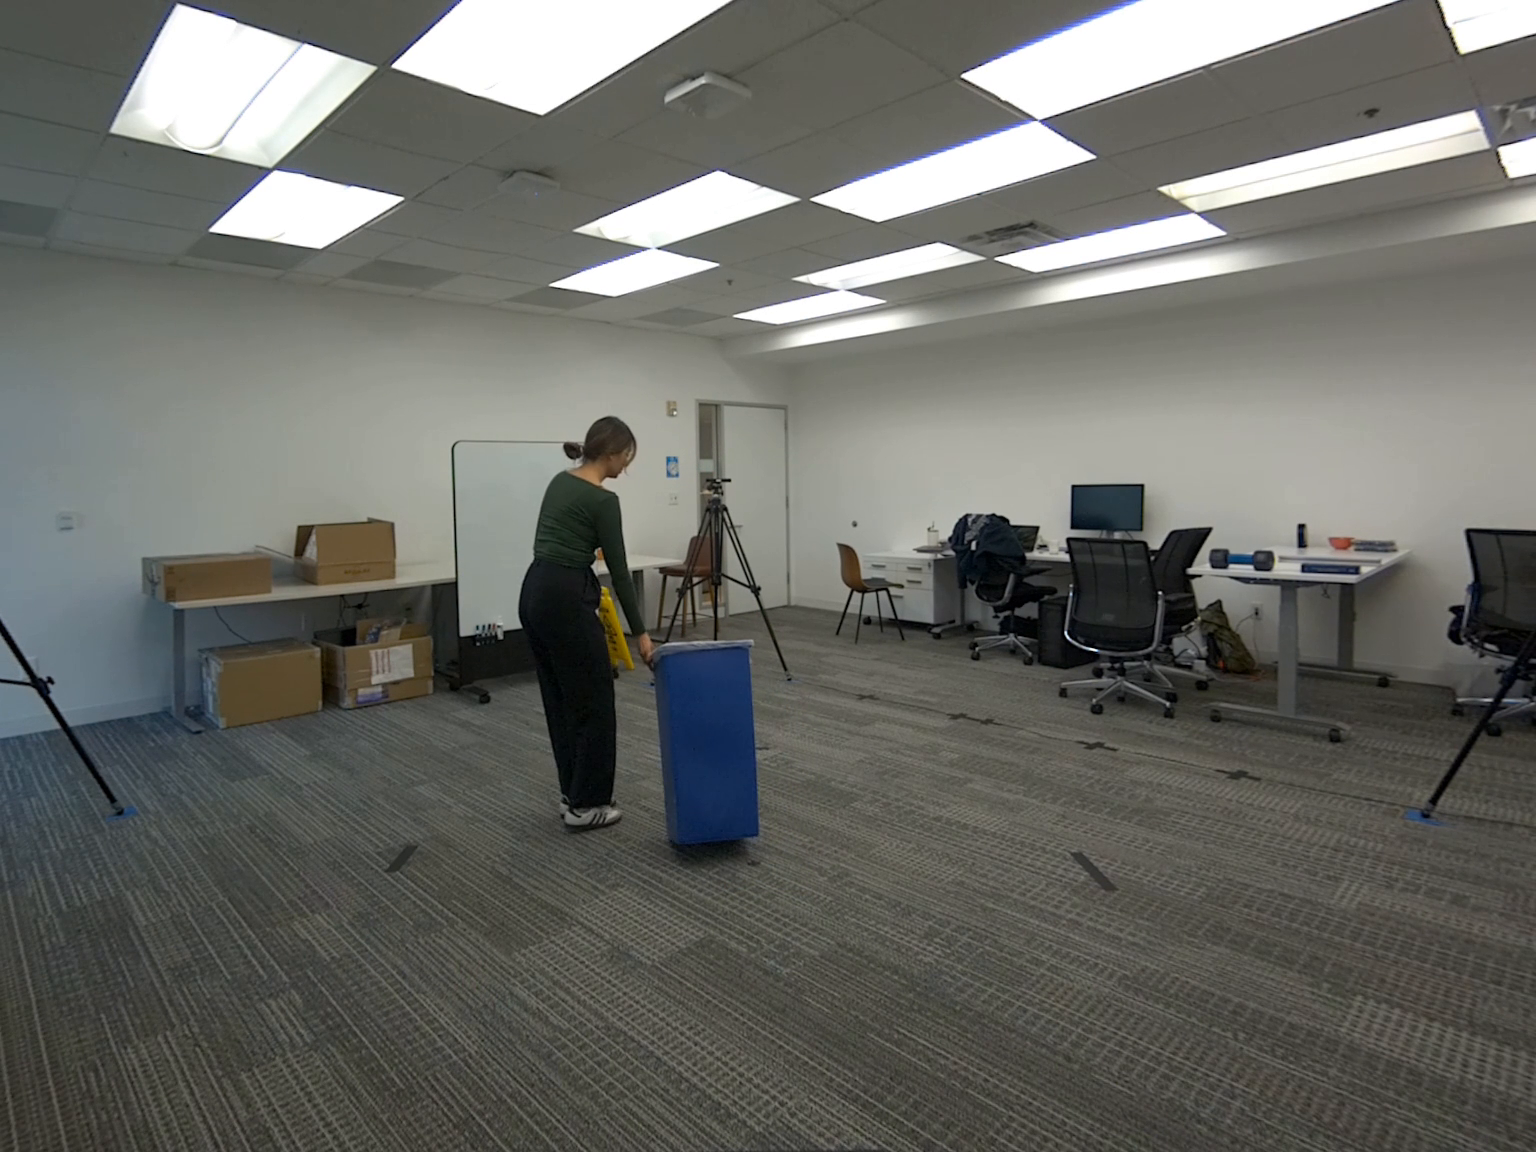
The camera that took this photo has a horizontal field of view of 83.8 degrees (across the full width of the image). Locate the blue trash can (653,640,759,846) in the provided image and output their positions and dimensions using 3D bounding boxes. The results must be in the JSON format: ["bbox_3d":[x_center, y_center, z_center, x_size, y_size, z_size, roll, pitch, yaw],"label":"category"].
[{"bbox_3d":[-0.234,0.638,3.307,0.373,0.723,0.374,-2,-14,-15],"label":"blue trash can"}]
